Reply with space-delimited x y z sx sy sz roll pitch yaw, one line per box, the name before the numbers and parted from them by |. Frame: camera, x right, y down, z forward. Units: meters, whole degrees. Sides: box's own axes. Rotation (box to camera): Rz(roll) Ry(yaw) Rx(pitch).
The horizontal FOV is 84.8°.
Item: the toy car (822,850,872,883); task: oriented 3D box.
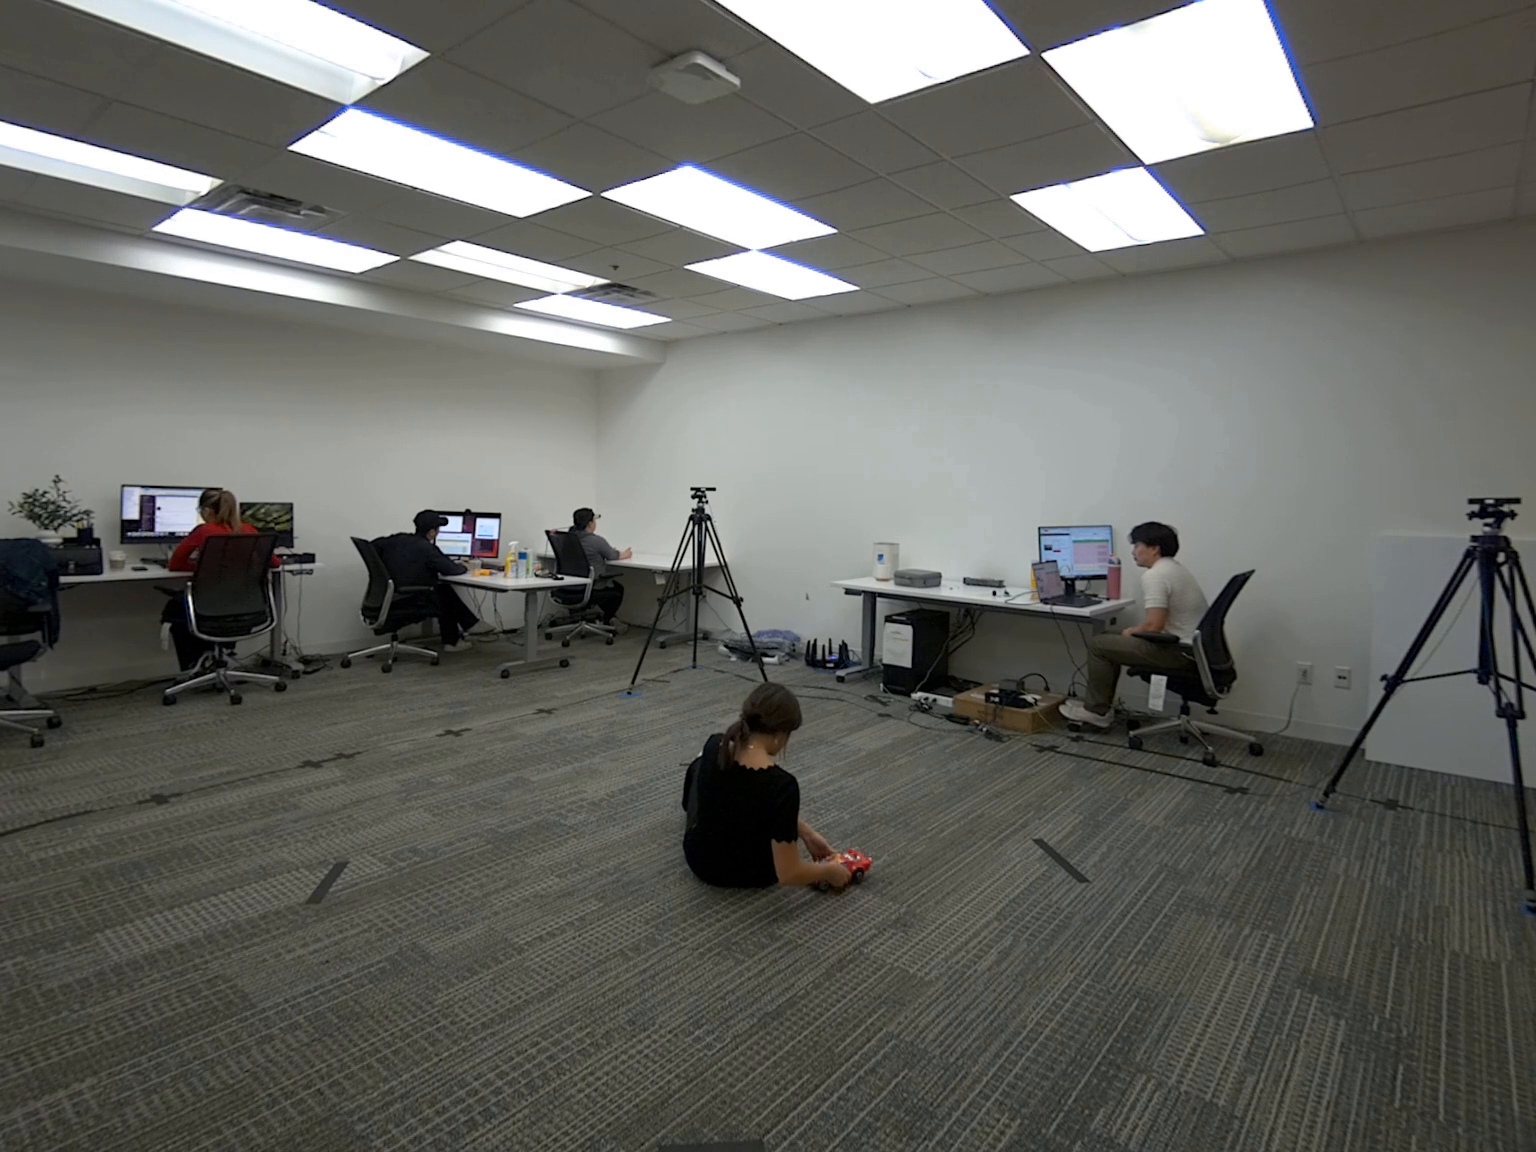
toy car | 0.248 1.030 3.040 0.250 0.082 0.134 -17 14 -22
